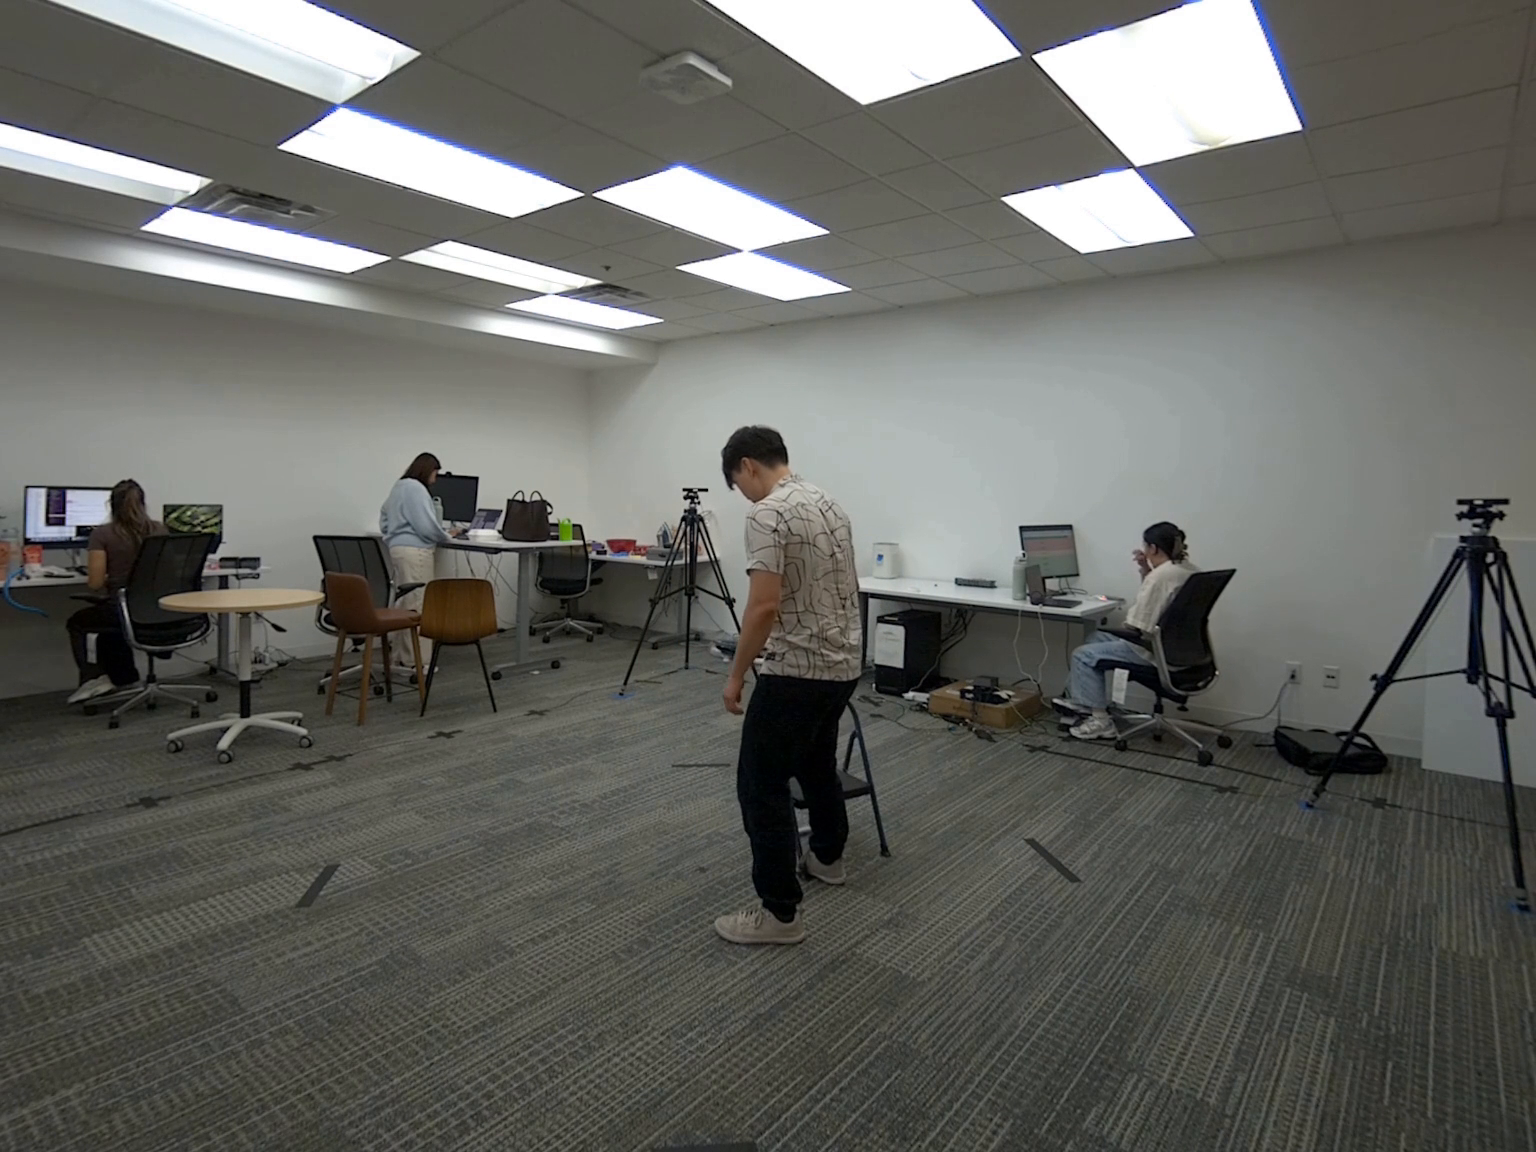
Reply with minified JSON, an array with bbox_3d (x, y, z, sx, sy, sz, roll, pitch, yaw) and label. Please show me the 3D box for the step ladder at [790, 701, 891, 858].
[{"bbox_3d":[0.196,0.754,3.272,0.418,0.604,0.360,0,4,-34],"label":"step ladder"}]
